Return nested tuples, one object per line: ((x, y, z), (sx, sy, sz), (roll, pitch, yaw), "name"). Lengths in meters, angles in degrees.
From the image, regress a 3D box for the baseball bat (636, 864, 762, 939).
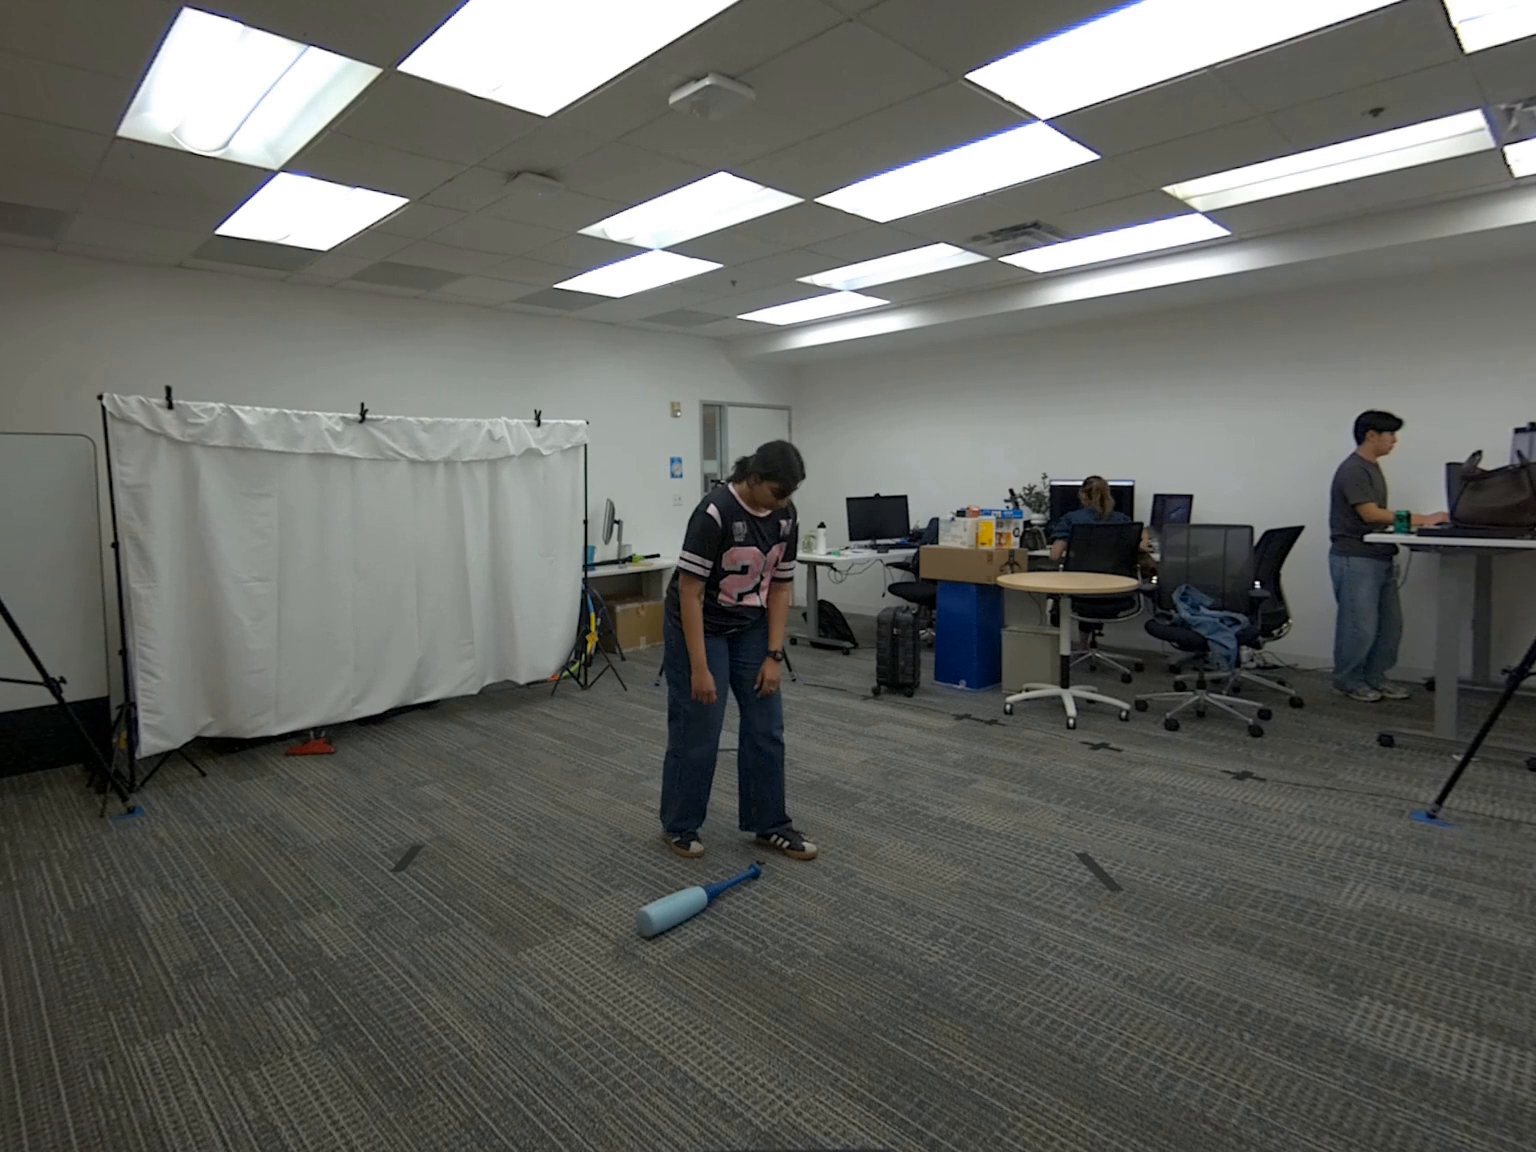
((-0.207, 1.053, 2.802), (0.092, 0.089, 0.528), (3, 5, 42), "baseball bat")
